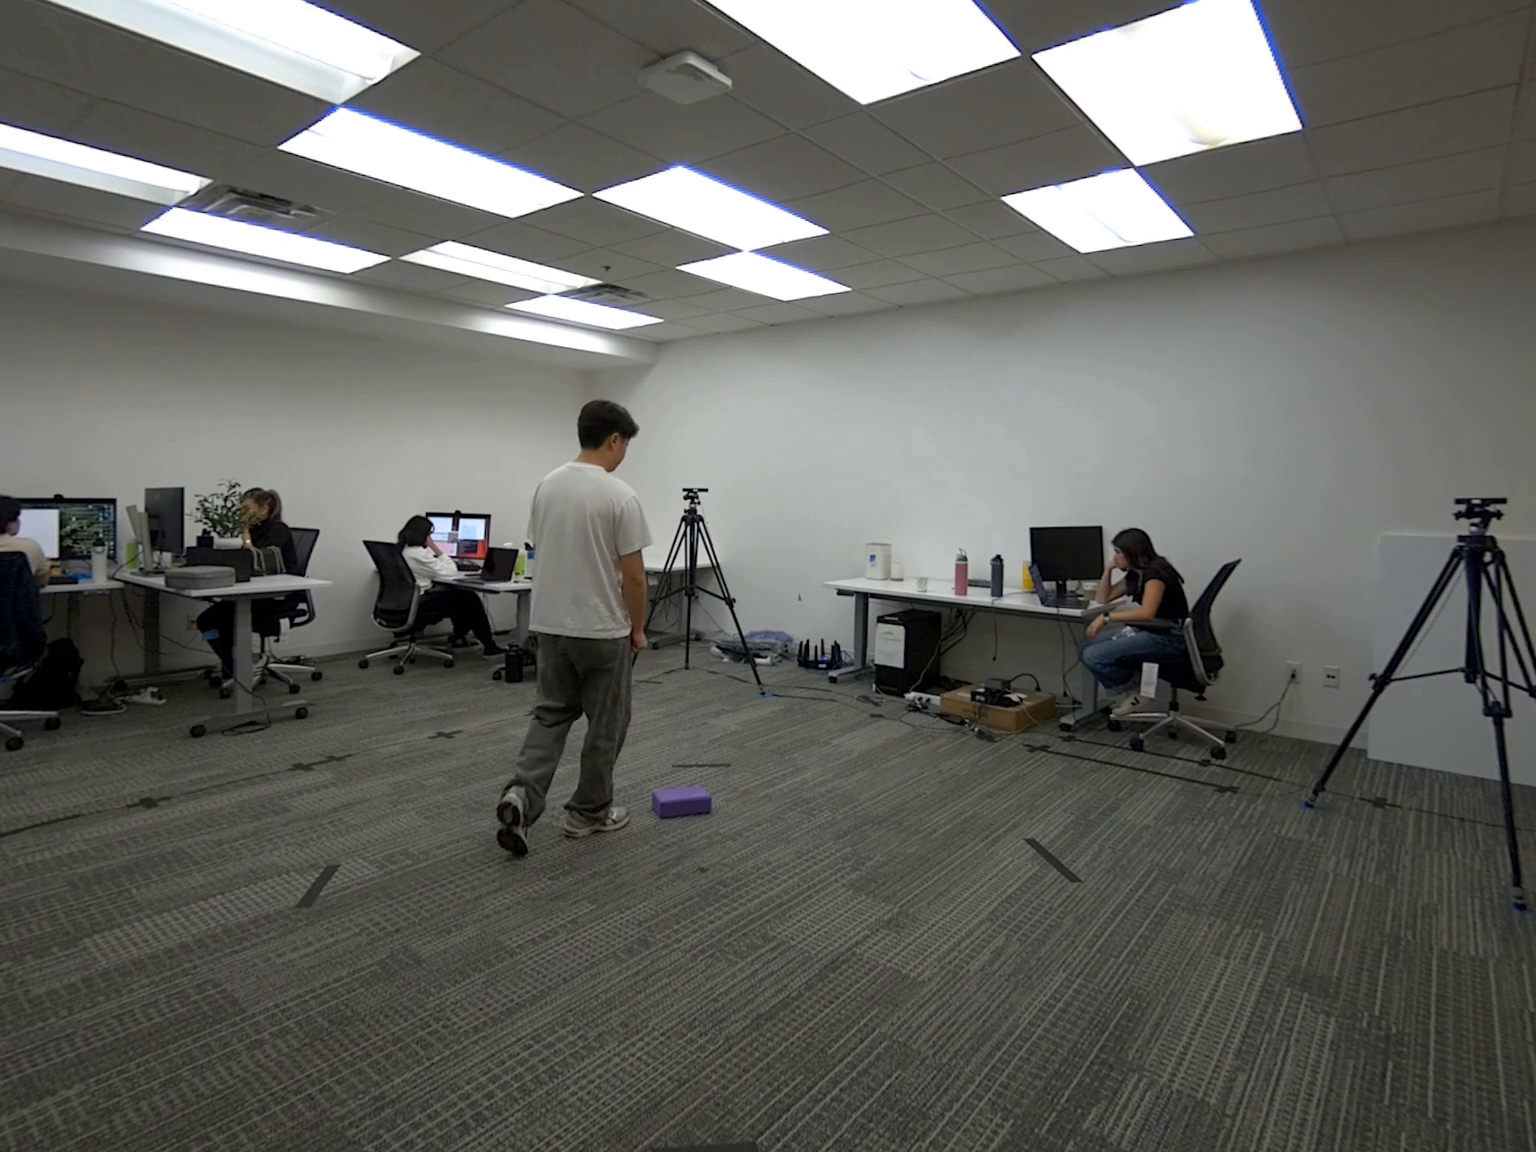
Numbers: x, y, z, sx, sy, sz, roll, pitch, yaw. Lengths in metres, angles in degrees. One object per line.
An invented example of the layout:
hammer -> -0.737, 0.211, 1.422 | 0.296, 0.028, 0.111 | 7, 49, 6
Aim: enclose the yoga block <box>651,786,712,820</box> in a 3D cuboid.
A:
yoga block -> -0.373, 0.967, 3.683 | 0.225, 0.076, 0.152 | -2, 5, -19
